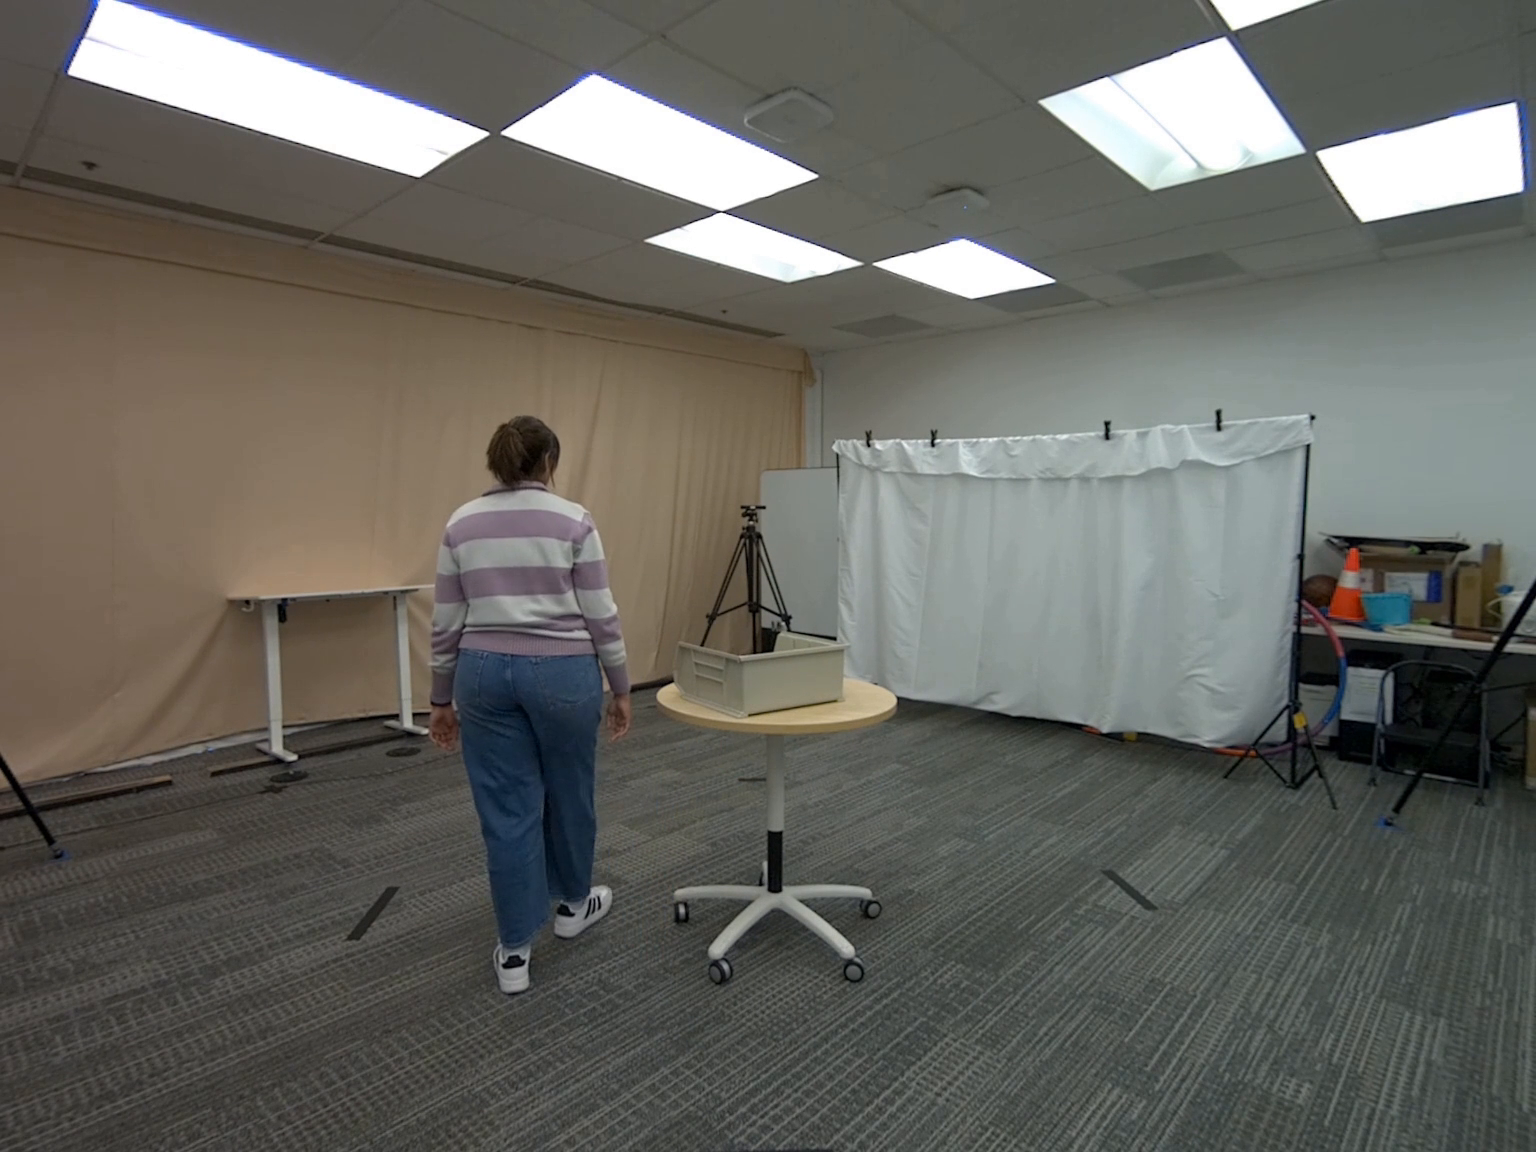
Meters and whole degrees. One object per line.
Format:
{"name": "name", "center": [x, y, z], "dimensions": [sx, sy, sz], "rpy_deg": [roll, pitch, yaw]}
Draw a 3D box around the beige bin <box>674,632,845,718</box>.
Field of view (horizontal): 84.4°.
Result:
{"name": "beige bin", "center": [-0.022, 0.300, 2.646], "dimensions": [0.410, 0.188, 0.390], "rpy_deg": [-2, 6, -37]}
